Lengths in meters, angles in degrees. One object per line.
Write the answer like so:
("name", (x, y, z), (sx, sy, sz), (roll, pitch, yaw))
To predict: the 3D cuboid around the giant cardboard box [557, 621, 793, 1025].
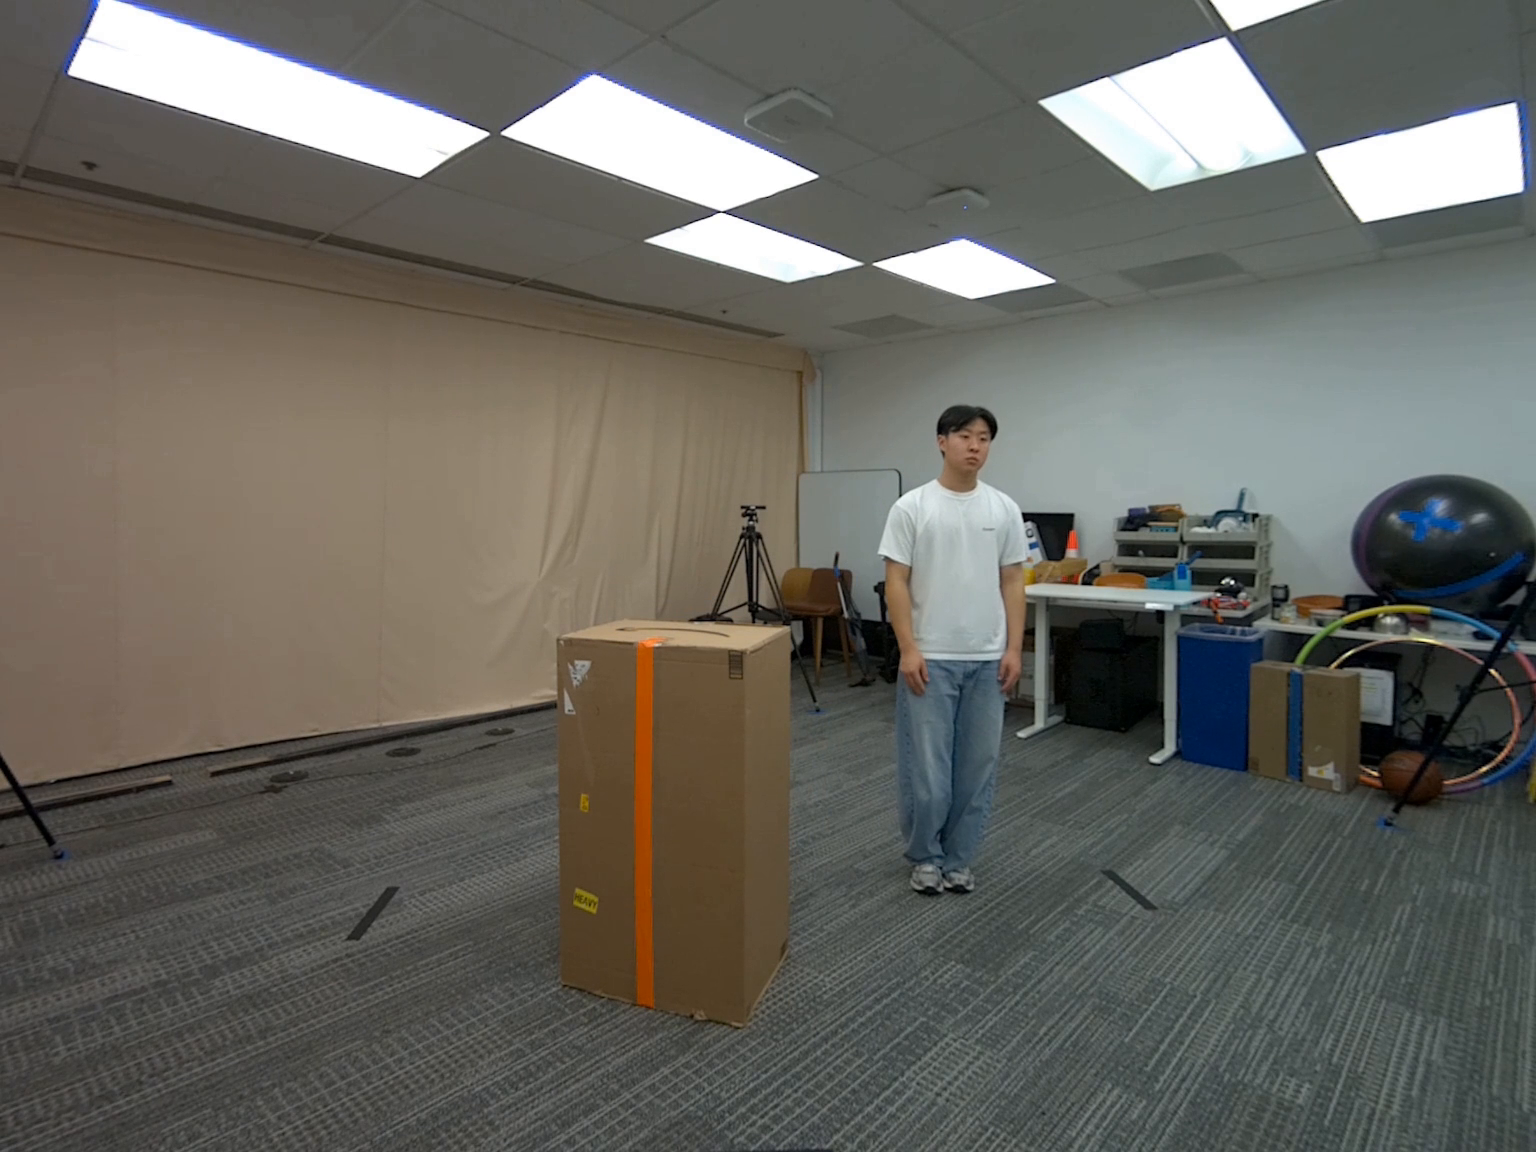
("giant cardboard box", (-0.264, 0.675, 2.507), (0.590, 1.023, 0.417), (2, 4, 21))
